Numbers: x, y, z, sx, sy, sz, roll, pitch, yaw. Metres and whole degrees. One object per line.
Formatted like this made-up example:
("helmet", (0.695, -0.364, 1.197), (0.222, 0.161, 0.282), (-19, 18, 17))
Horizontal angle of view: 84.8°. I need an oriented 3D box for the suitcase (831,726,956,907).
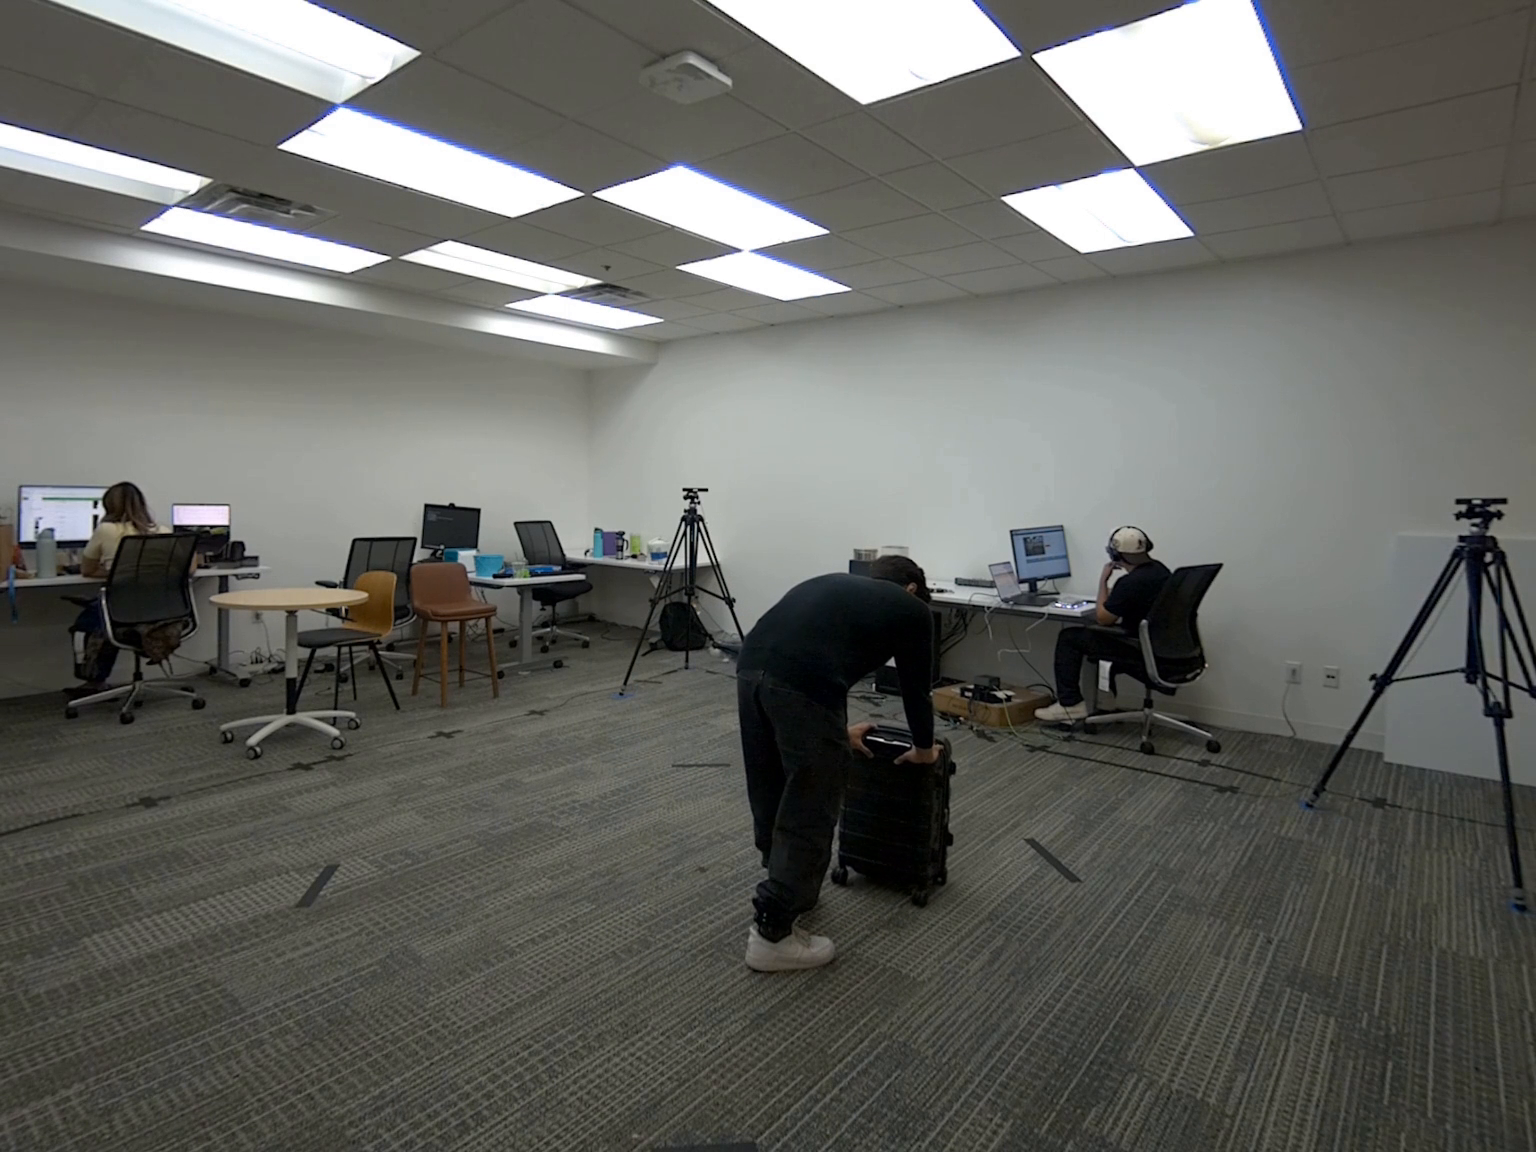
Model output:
("suitcase", (0.449, 0.814, 3.054), (0.387, 0.548, 0.241), (3, 2, 32))
